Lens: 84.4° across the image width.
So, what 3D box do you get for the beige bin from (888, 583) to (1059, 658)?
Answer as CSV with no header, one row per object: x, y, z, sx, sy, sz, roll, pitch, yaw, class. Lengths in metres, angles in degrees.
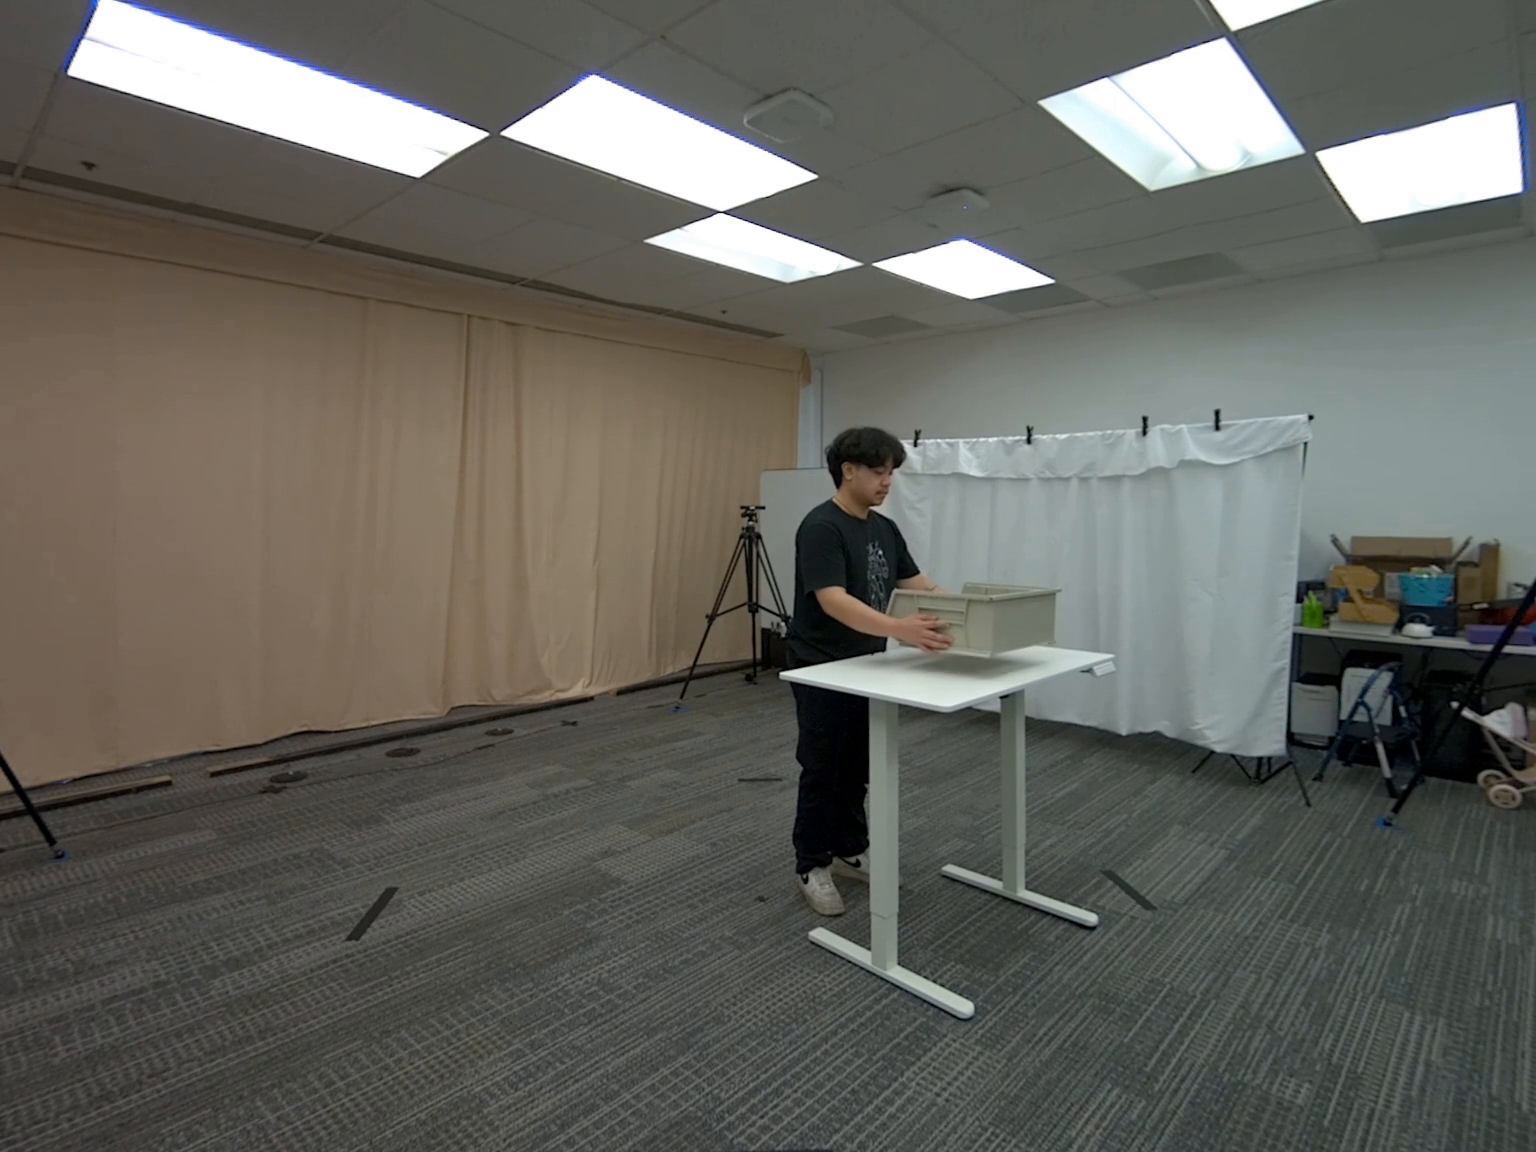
0.661,0.132,2.672,0.409,0.188,0.390,-3,6,-44,beige bin
